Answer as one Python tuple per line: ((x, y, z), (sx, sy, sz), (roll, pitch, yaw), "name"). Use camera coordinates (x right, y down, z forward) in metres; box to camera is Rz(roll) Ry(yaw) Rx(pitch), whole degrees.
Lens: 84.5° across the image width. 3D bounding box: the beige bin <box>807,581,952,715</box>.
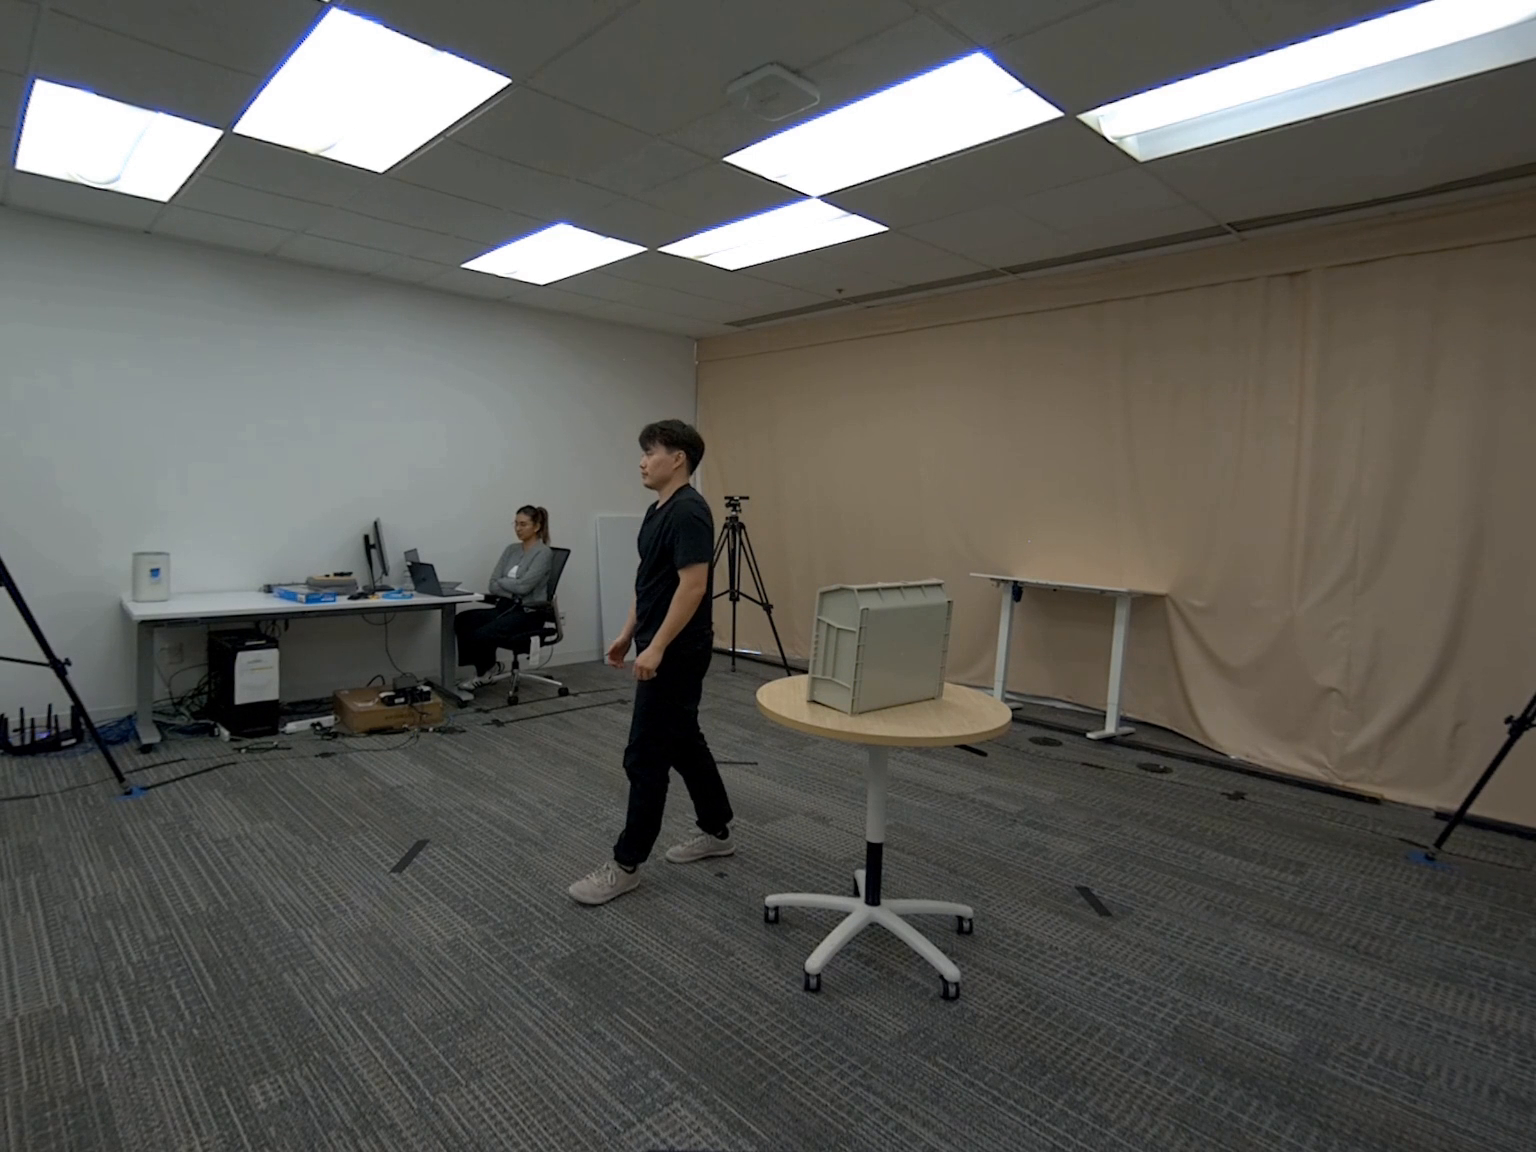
((0.345, 0.203, 2.549), (0.413, 0.375, 0.194), (-2, 10, -40), "beige bin")
